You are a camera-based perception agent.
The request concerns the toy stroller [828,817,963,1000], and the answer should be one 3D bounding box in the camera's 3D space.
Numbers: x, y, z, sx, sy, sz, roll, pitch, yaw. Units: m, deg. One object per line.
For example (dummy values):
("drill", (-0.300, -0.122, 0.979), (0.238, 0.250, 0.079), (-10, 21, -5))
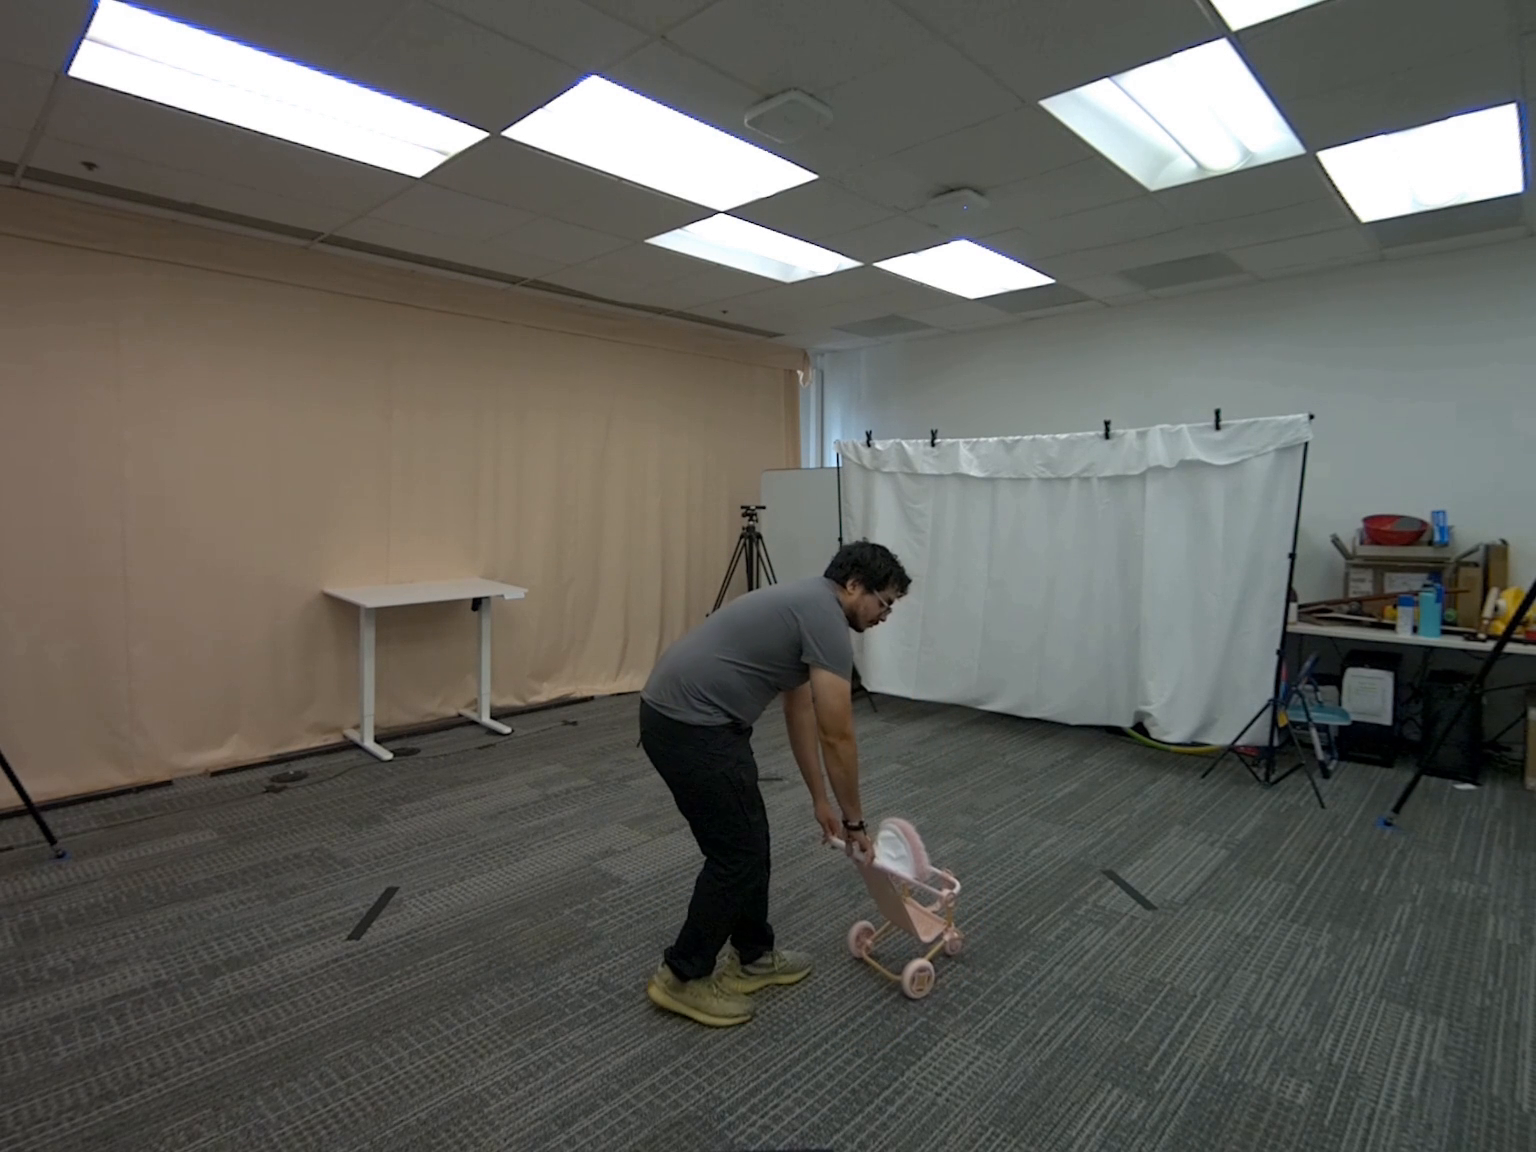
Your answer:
("toy stroller", (0.419, 0.958, 2.509), (0.335, 0.530, 0.289), (-19, 11, -25))
